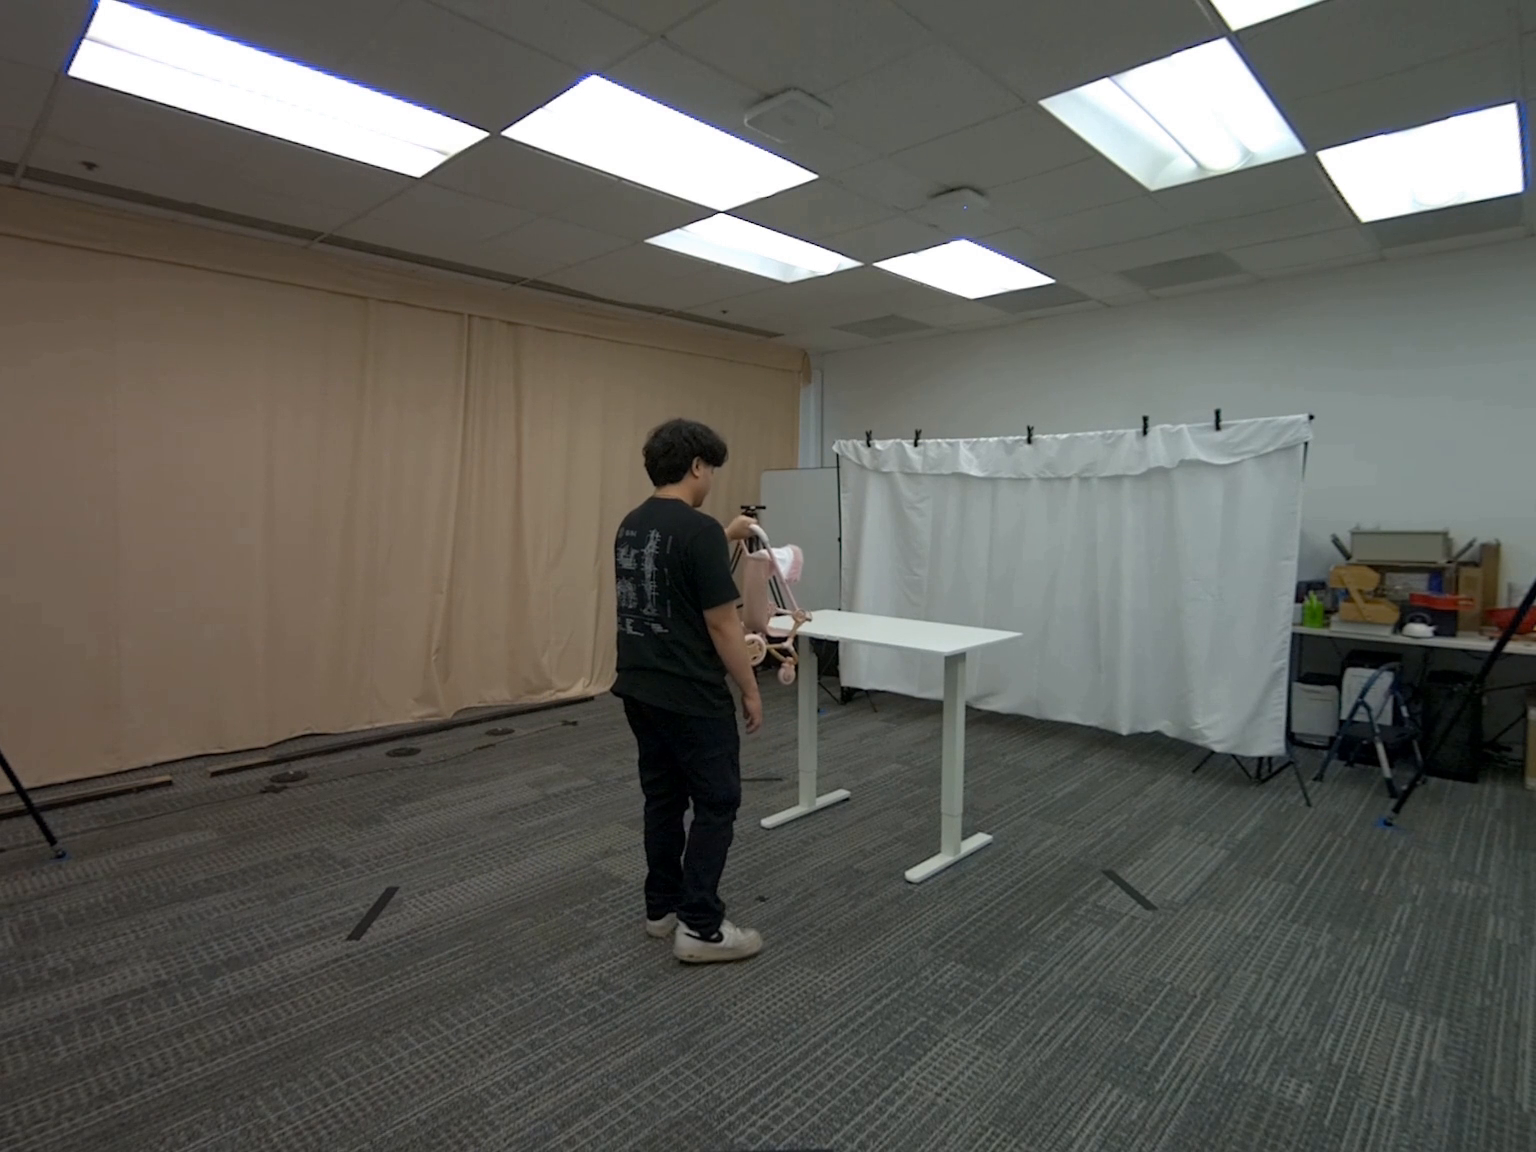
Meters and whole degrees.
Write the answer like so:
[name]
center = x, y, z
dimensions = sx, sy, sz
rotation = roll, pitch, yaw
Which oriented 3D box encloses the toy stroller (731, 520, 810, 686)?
[toy stroller]
center = 0.012, 0.112, 3.029
dimensions = 0.332, 0.535, 0.288
rotation = 13, -3, -25
